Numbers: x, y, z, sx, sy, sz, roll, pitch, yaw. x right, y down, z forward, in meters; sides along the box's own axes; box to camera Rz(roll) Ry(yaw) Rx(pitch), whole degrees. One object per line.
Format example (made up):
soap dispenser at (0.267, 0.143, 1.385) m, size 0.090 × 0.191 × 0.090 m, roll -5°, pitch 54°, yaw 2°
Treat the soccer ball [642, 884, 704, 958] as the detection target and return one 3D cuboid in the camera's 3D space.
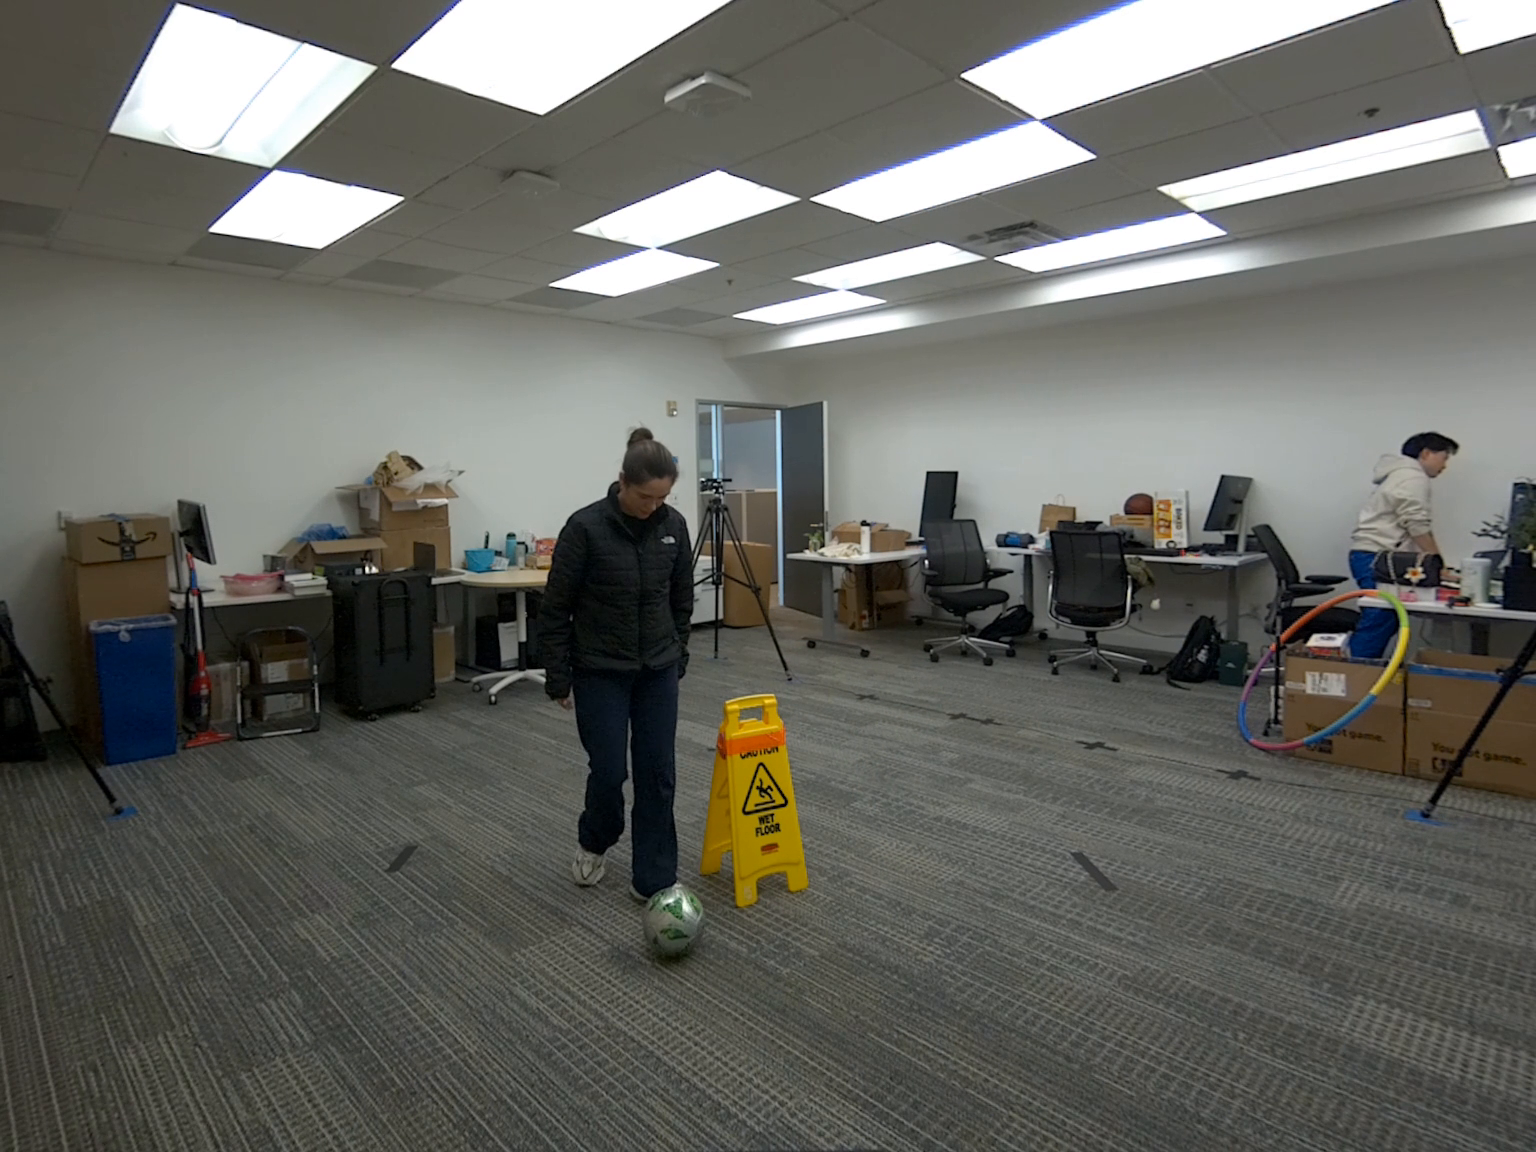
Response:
soccer ball at (-0.271, 1.027, 2.528) m, size 0.187 × 0.187 × 0.188 m, roll -1°, pitch 5°, yaw -2°
